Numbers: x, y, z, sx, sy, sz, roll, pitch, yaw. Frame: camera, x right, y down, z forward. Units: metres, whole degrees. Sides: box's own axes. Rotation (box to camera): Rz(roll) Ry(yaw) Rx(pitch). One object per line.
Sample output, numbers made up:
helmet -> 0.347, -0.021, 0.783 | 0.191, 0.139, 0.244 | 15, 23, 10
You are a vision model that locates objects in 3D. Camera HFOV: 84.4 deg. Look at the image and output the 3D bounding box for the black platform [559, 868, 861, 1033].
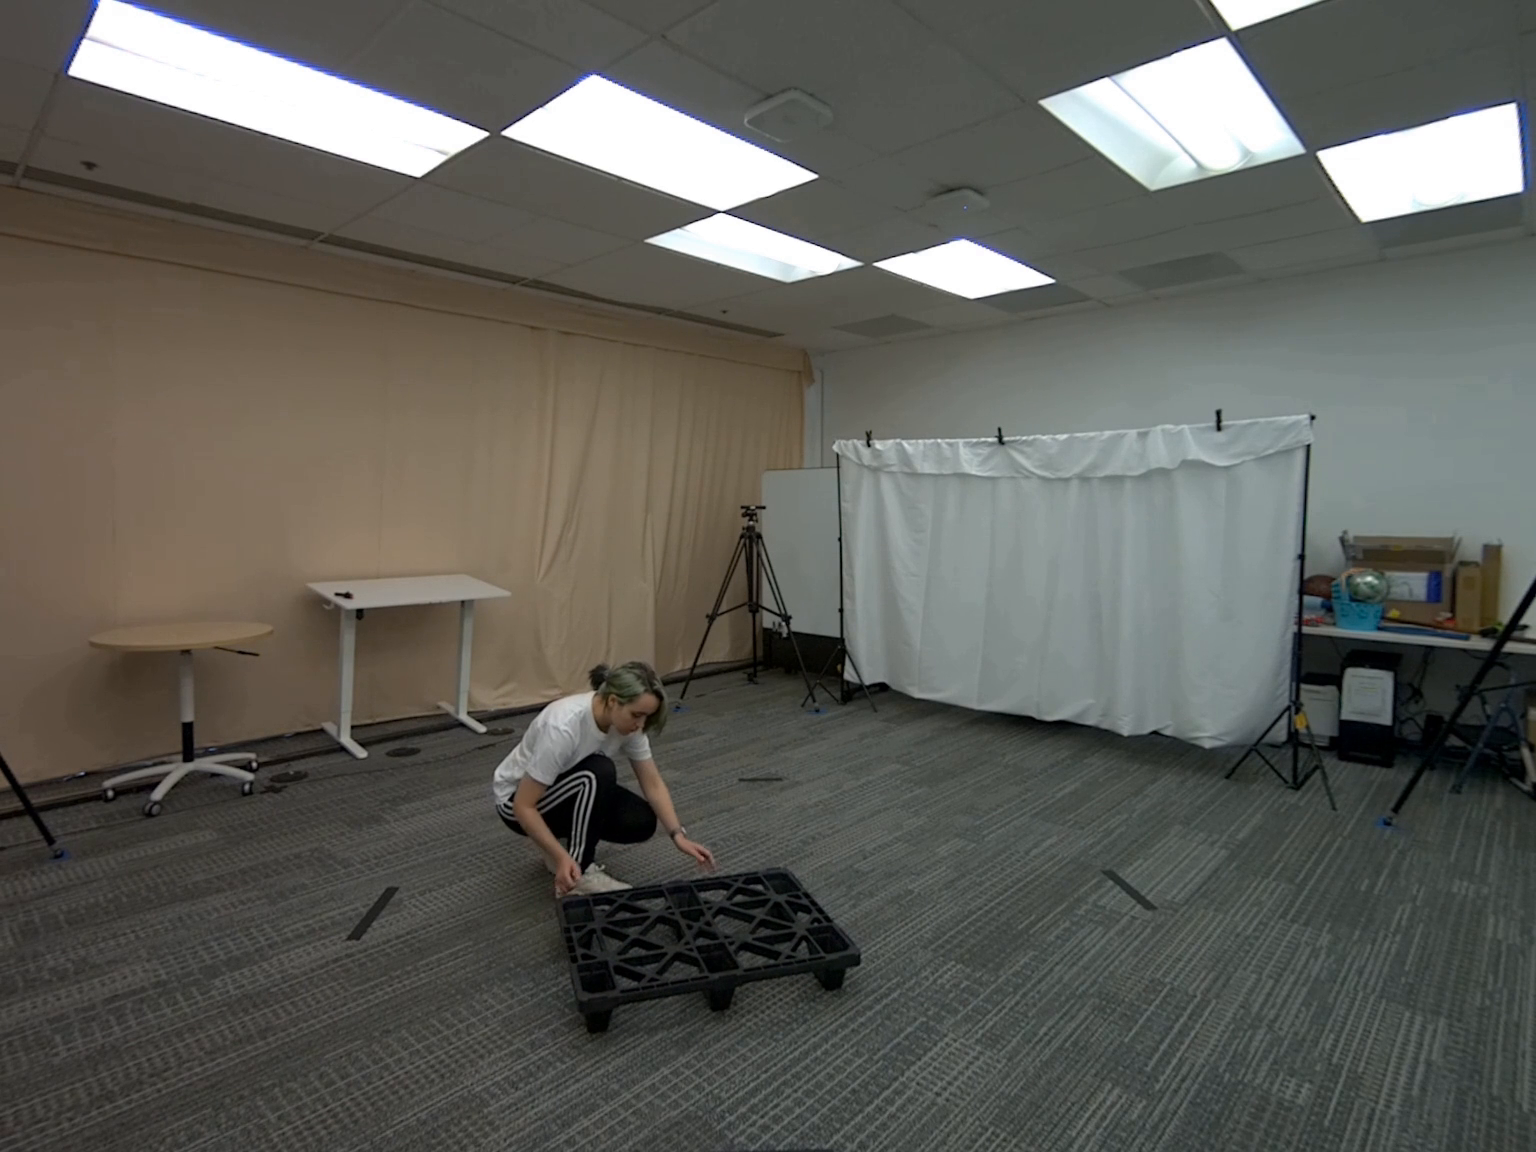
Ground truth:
black platform -> -0.200, 1.115, 2.538 | 0.791, 0.143, 0.617 | -2, 5, -18
